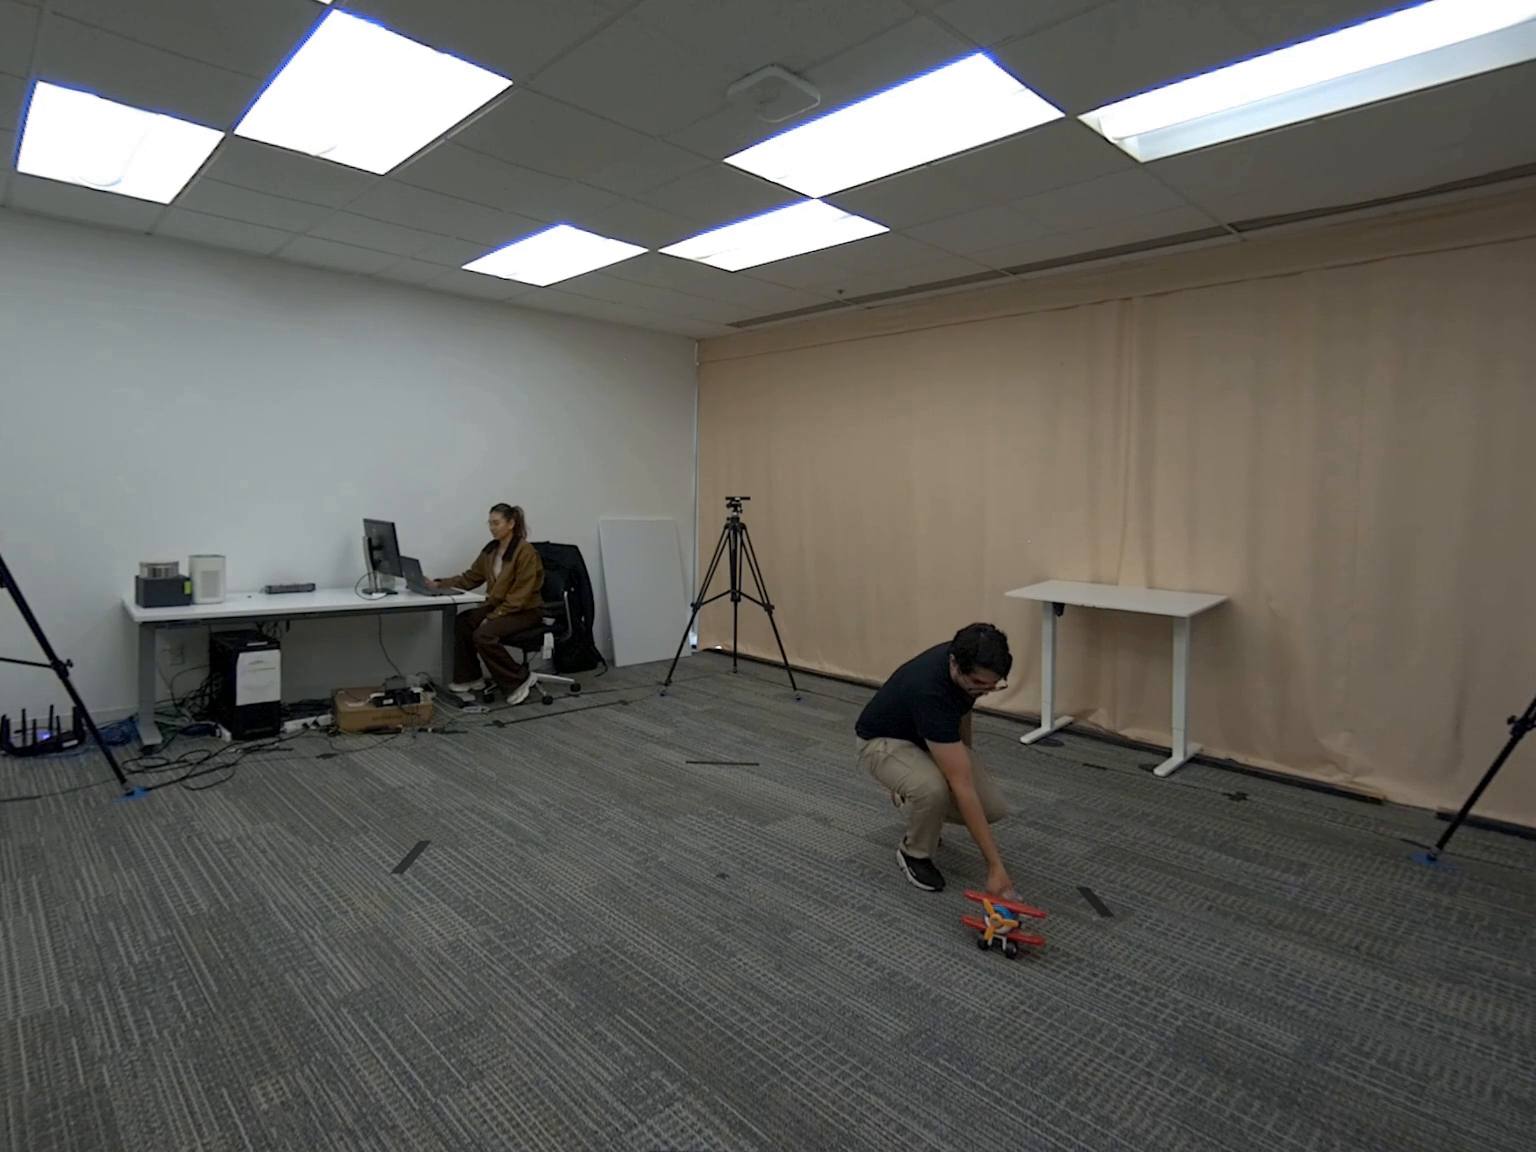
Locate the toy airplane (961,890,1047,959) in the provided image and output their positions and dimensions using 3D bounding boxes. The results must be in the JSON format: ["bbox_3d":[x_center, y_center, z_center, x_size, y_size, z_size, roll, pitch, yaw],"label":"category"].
[{"bbox_3d":[0.736,1.097,2.691,0.252,0.156,0.259,2,6,4],"label":"toy airplane"}]
